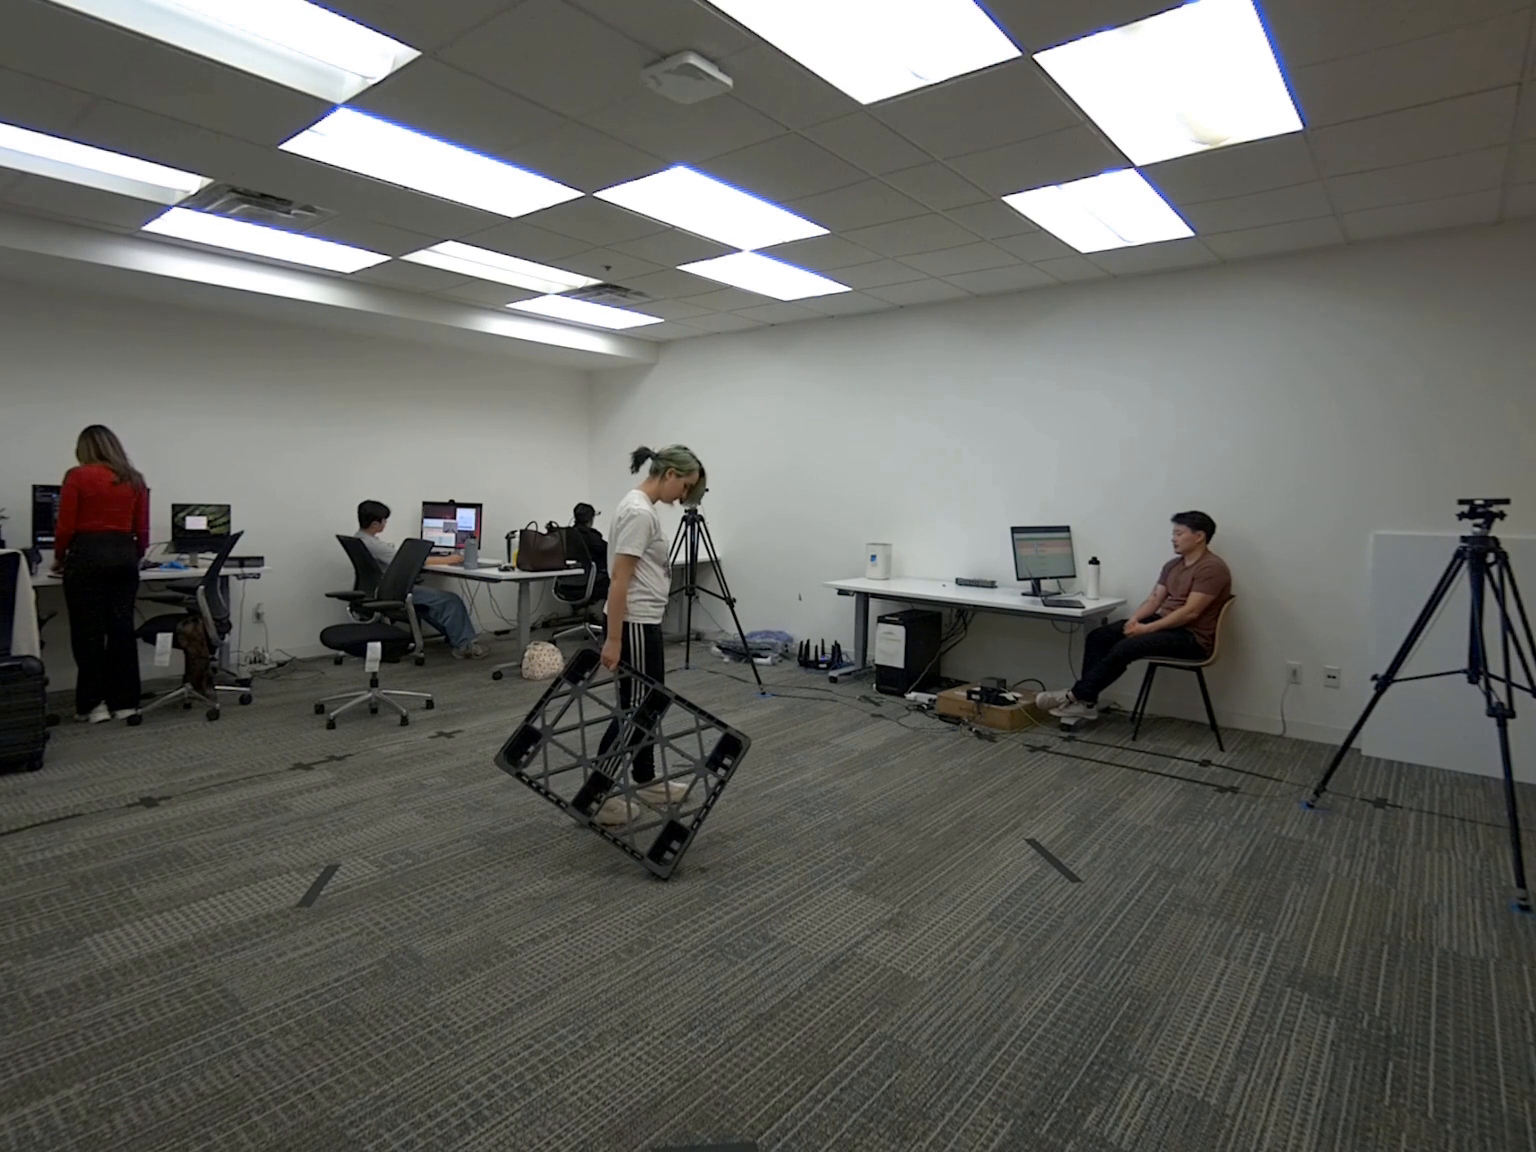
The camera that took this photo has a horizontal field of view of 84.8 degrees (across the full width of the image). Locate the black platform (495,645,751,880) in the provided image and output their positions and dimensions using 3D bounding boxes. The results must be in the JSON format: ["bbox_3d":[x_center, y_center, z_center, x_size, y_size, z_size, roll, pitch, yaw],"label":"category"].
[{"bbox_3d":[-0.562,0.695,3.284,0.824,0.607,0.139,27,-26,16],"label":"black platform"}]
